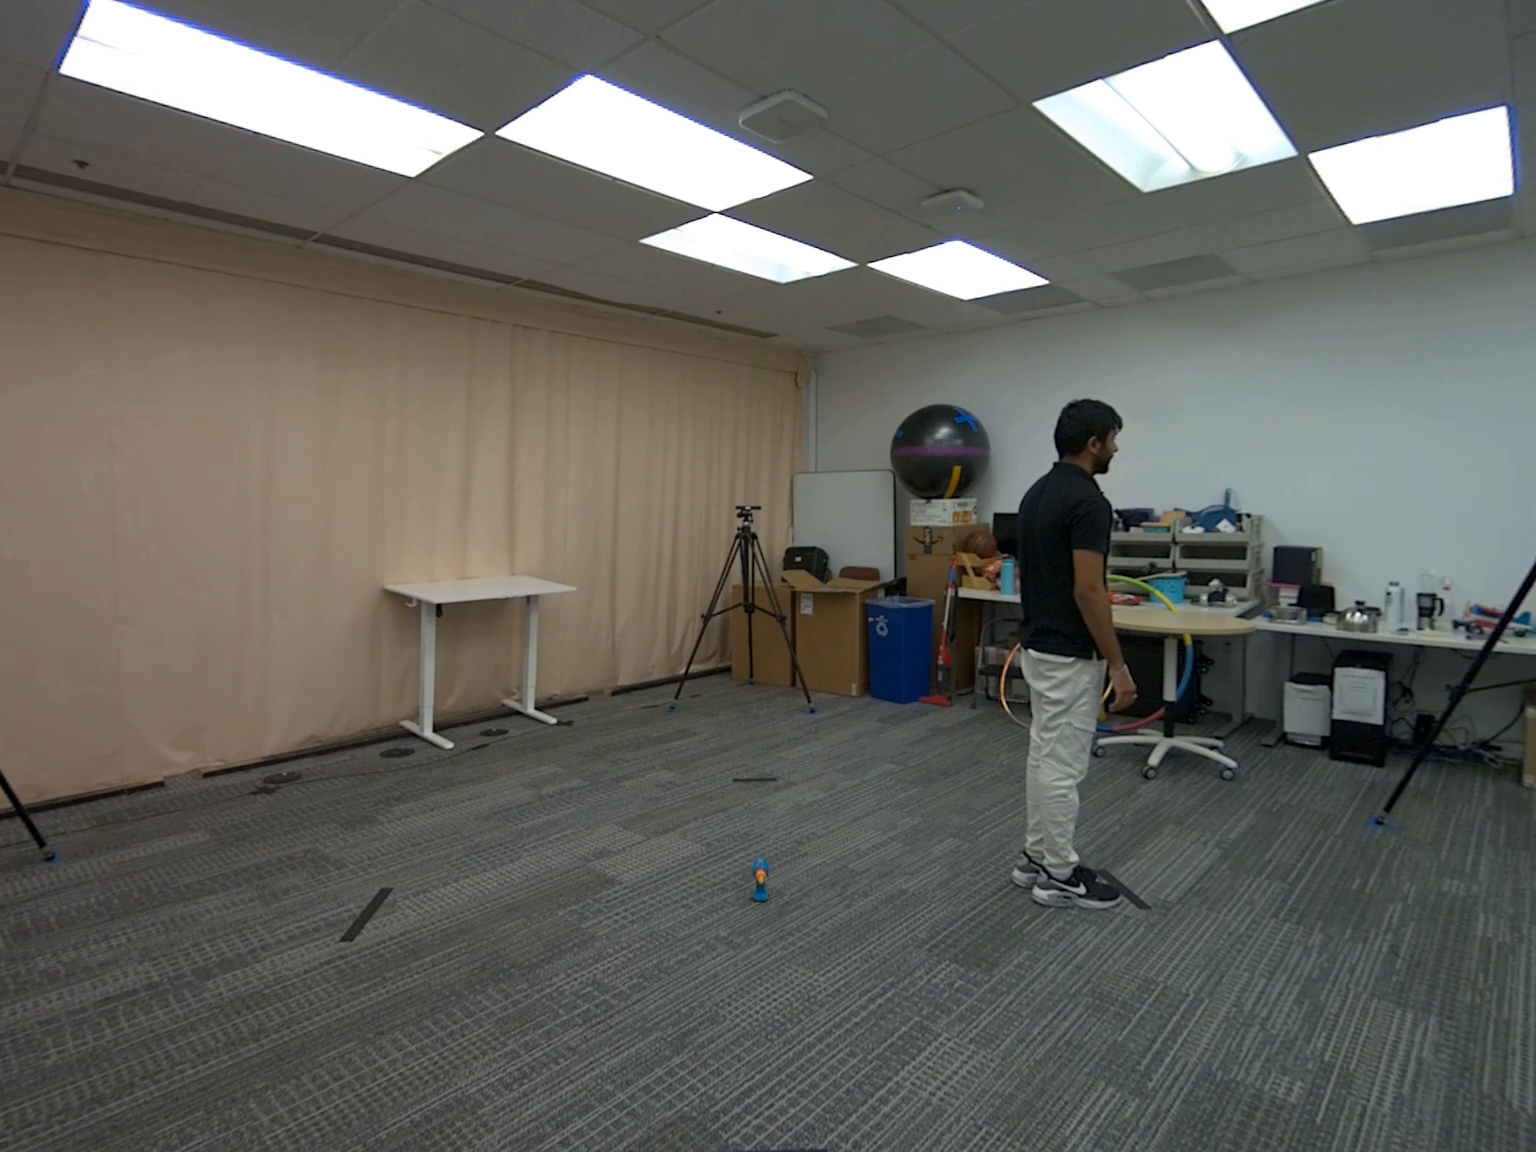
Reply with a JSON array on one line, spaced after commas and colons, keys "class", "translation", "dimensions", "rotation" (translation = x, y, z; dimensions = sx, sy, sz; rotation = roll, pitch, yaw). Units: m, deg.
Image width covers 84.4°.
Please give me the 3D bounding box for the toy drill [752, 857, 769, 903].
[{"class": "toy drill", "translation": [-0.023, 1.069, 2.955], "dimensions": [0.061, 0.146, 0.171], "rotation": [2, 4, -4]}]
